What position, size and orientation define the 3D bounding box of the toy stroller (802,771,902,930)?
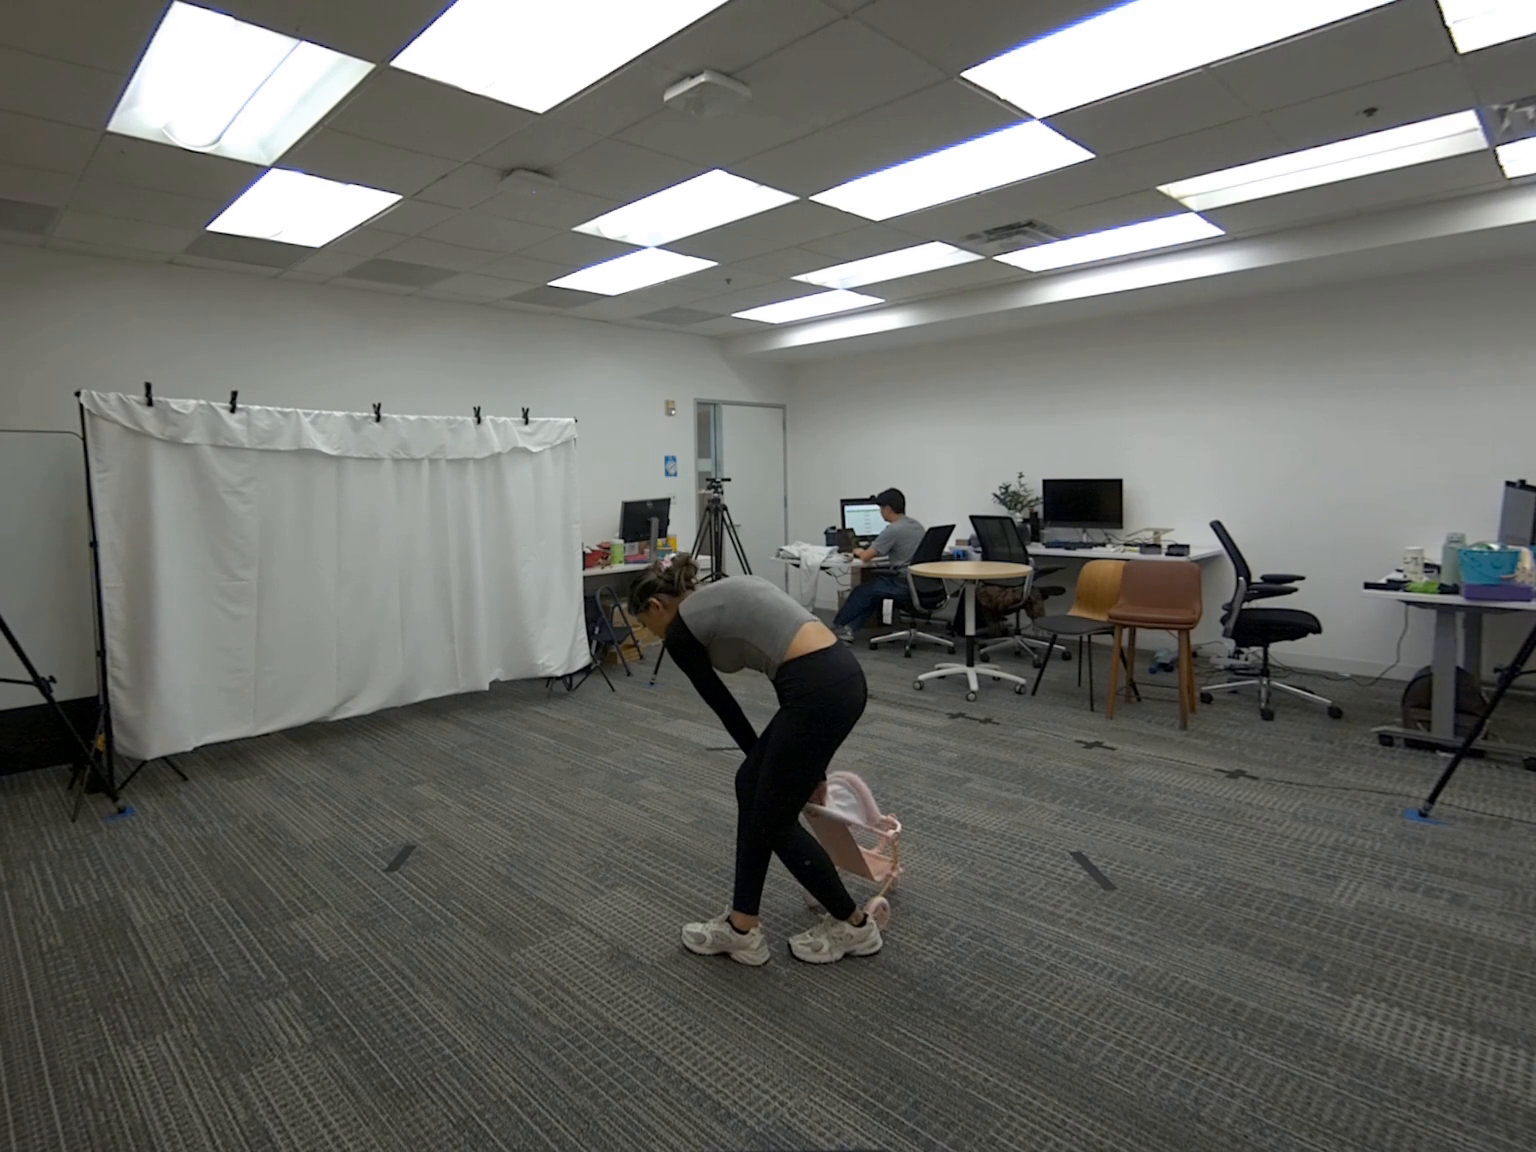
[{"bbox_3d":[0.280,0.854,2.730,0.337,0.526,0.290,-28,19,-38],"label":"toy stroller"}]
